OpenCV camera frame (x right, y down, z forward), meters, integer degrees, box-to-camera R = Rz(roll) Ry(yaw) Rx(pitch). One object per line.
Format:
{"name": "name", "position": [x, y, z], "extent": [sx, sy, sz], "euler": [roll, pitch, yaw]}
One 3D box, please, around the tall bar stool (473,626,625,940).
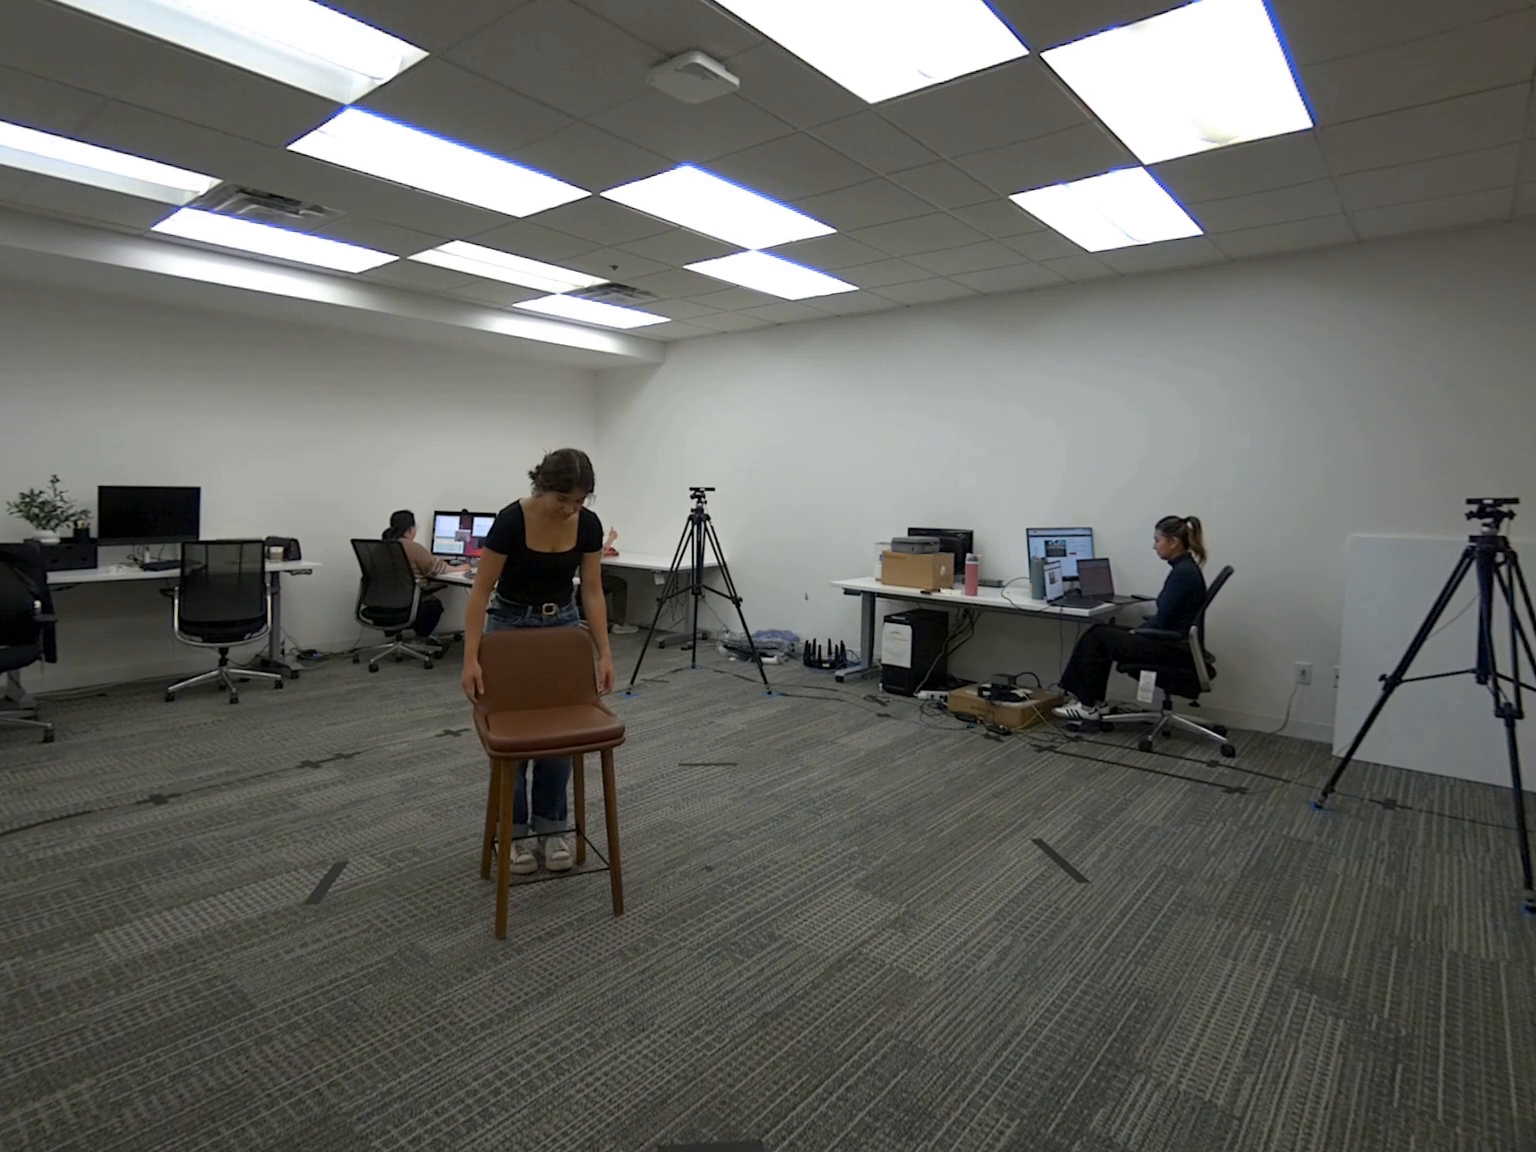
{"name": "tall bar stool", "position": [-0.757, 0.643, 2.861], "extent": [0.445, 0.889, 0.480], "euler": [-1, 2, -26]}
